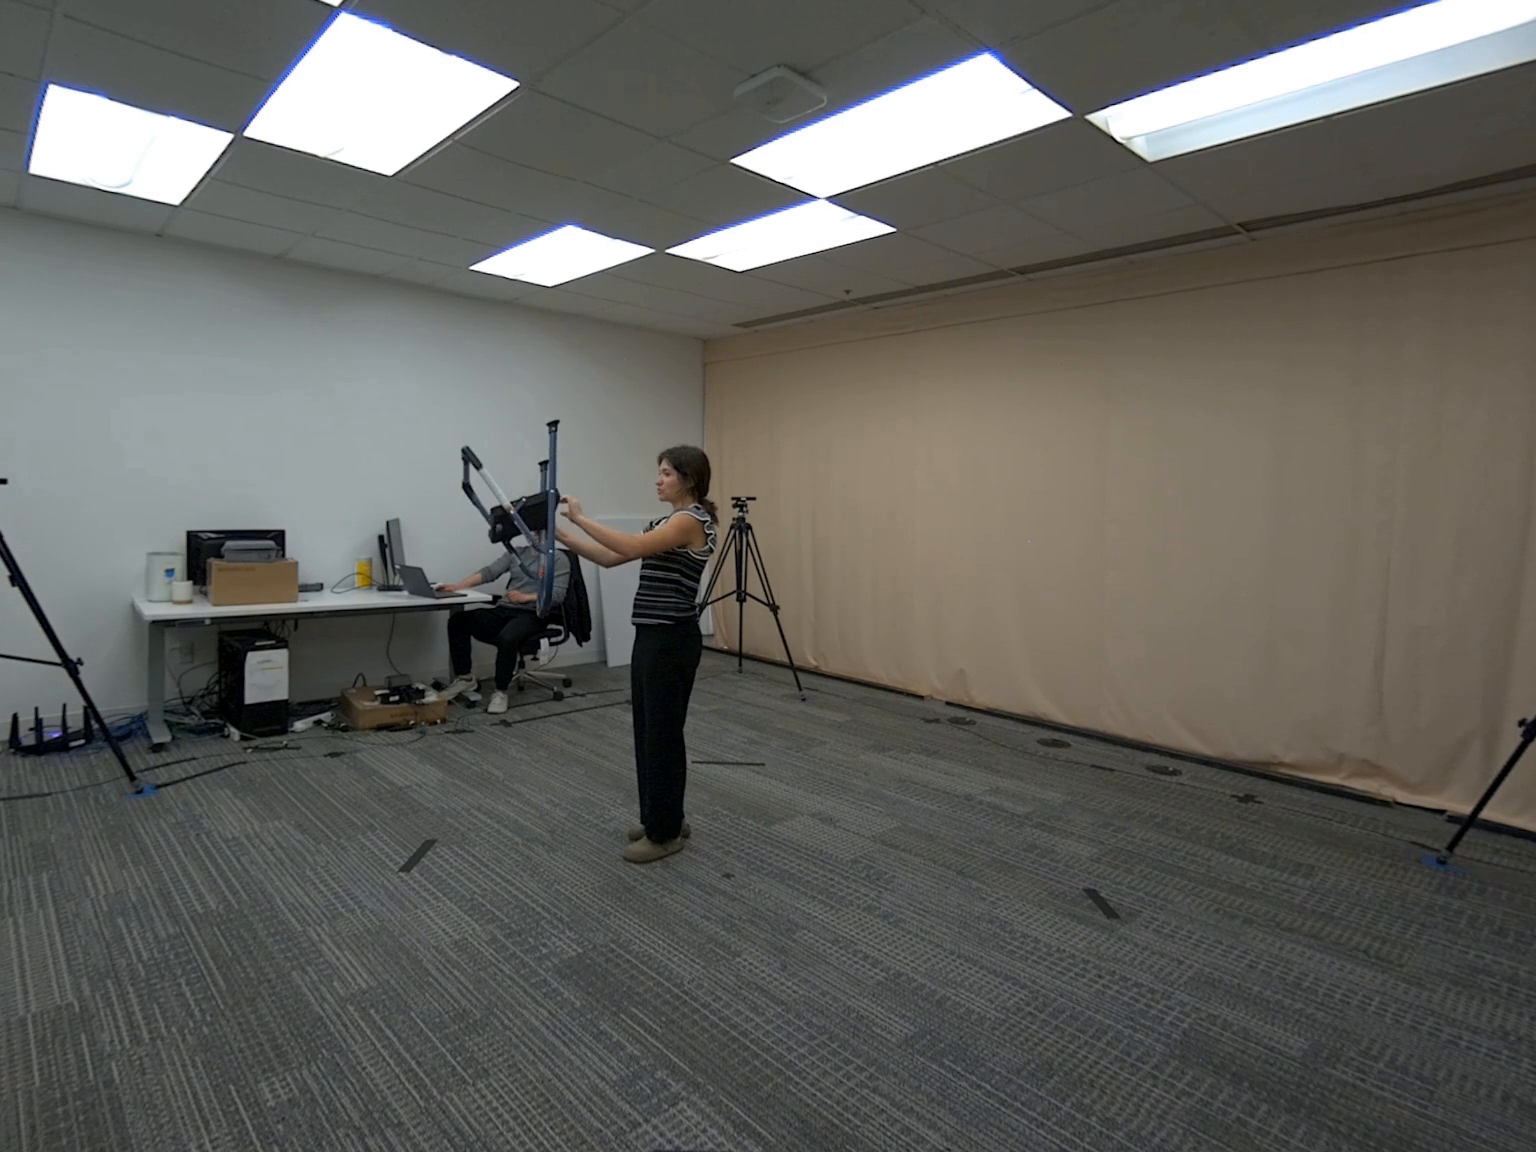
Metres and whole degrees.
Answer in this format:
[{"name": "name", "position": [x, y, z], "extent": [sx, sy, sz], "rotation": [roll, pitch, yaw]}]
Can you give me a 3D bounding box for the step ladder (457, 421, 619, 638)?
[{"name": "step ladder", "position": [-0.843, -0.158, 3.038], "extent": [0.345, 0.611, 0.431], "rotation": [-19, -8, -22]}]
